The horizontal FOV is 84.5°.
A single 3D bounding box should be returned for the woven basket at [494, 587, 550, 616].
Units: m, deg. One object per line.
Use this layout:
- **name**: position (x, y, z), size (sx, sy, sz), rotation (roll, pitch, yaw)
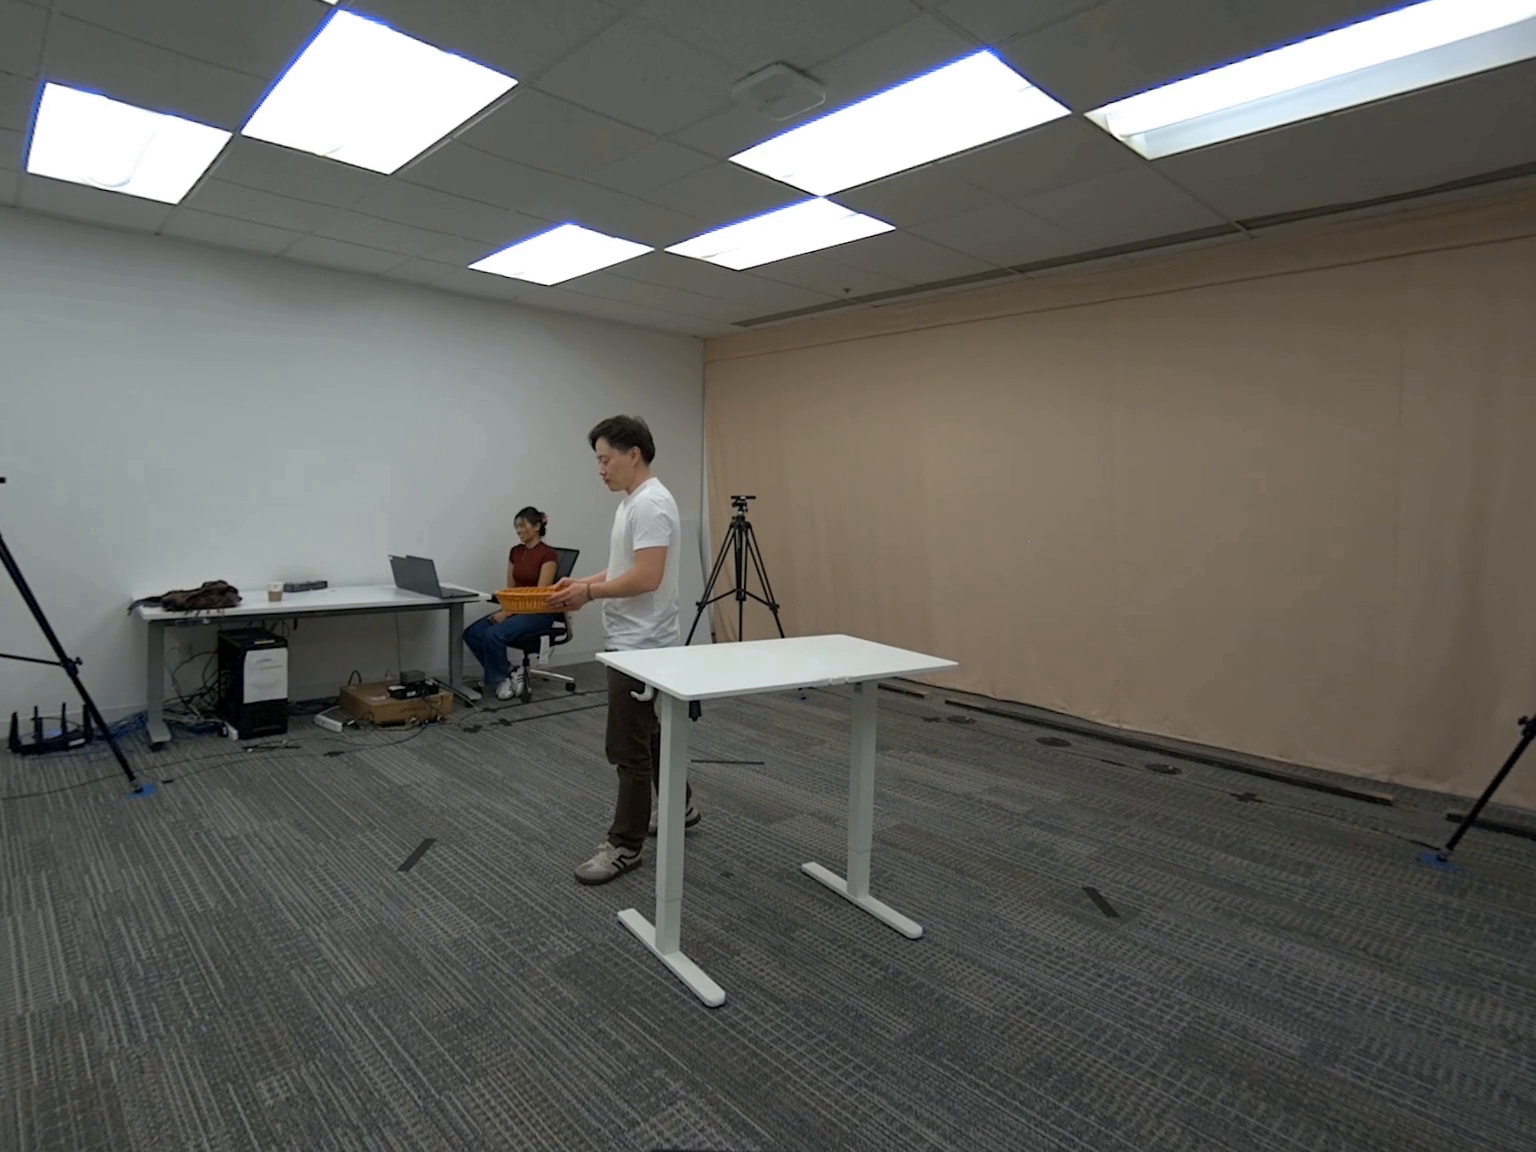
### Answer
- **woven basket**: position (-0.821, 0.096, 3.100), size (0.347, 0.073, 0.256), rotation (-2, 6, -13)
